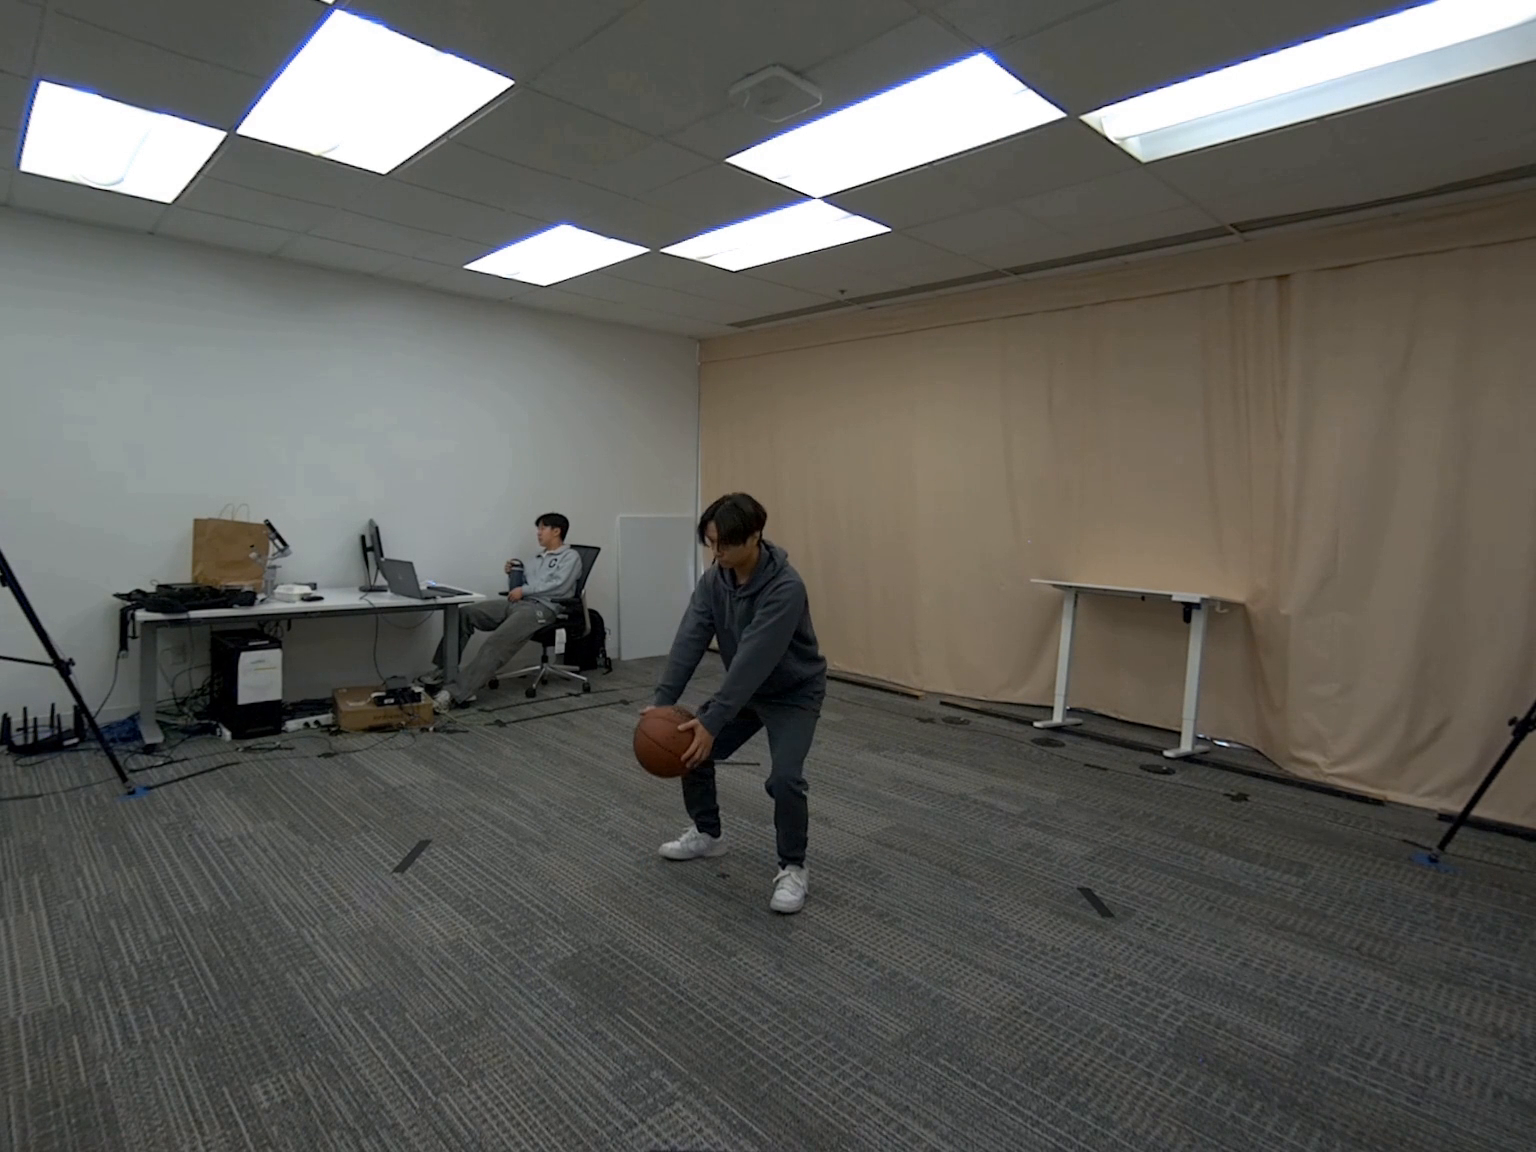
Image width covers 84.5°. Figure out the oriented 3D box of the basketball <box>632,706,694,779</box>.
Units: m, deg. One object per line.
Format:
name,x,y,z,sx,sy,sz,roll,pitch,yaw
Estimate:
basketball,-0.339,0.556,2.827,0.236,0.235,0.237,1,4,-1
